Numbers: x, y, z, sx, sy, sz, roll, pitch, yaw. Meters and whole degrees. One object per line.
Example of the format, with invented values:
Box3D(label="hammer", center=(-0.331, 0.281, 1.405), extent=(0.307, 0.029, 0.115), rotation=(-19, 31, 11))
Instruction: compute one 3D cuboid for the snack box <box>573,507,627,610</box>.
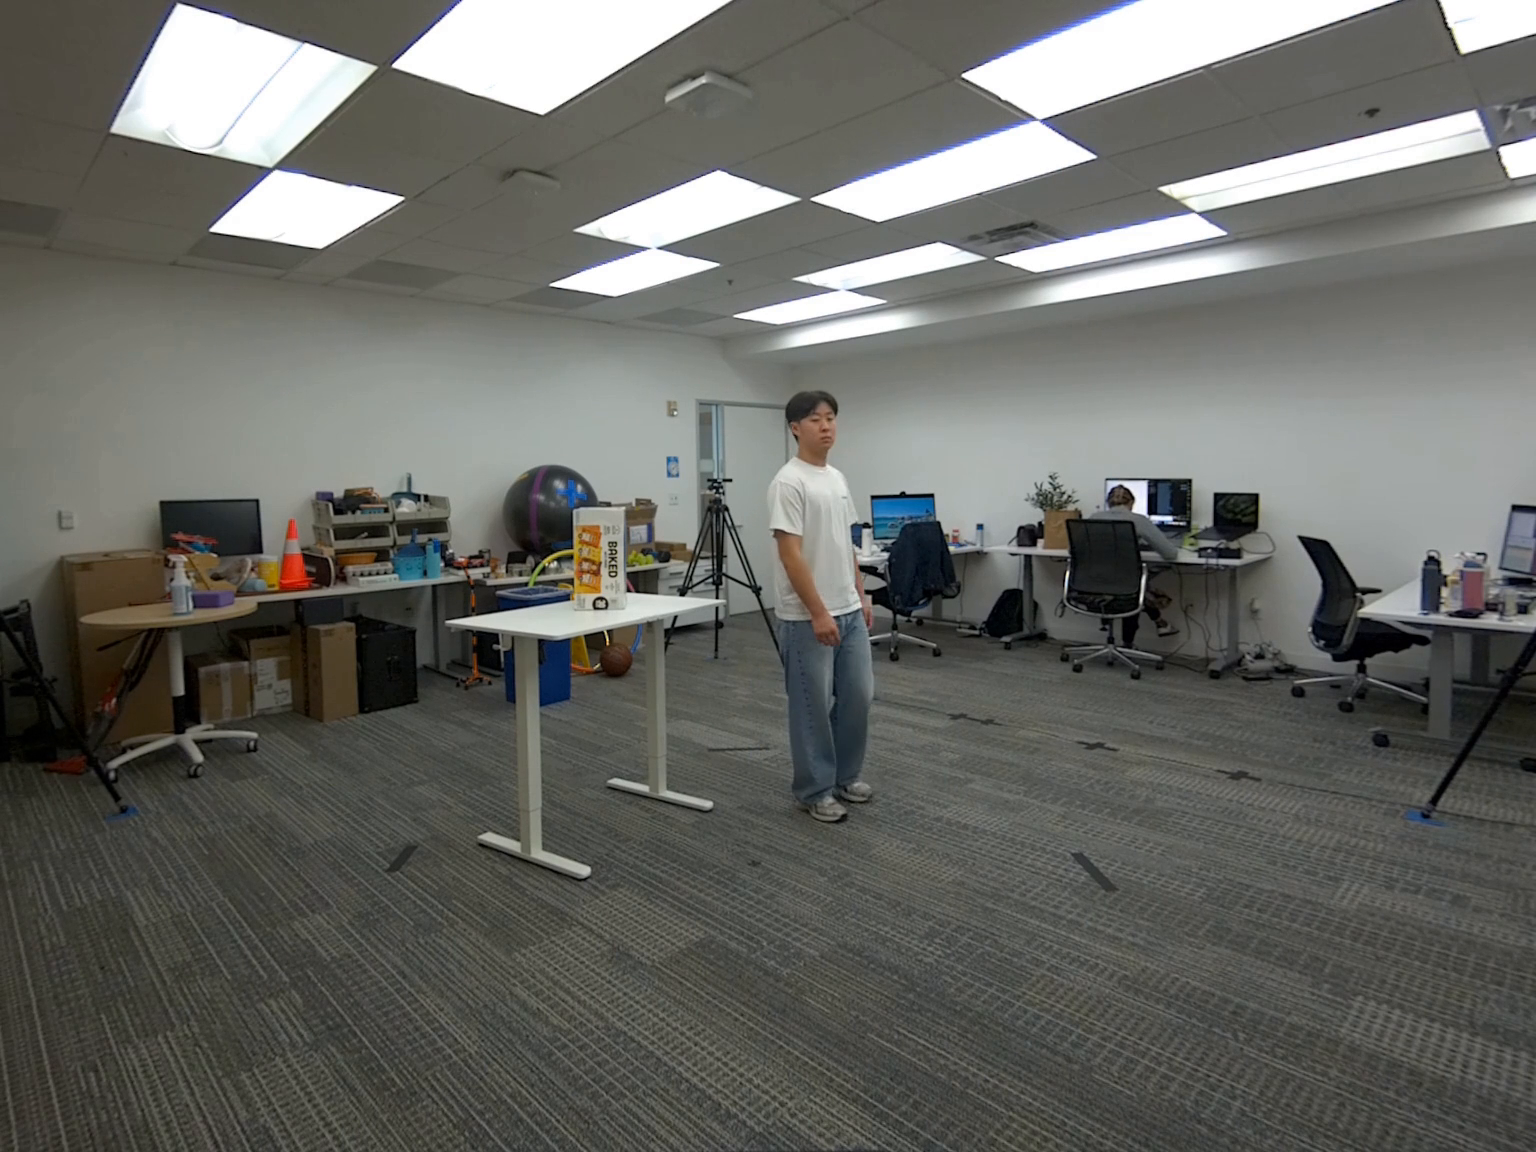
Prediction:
Box3D(label="snack box", center=(-0.699, -0.086, 3.594), extent=(0.205, 0.403, 0.344), rotation=(-1, 6, -6))
